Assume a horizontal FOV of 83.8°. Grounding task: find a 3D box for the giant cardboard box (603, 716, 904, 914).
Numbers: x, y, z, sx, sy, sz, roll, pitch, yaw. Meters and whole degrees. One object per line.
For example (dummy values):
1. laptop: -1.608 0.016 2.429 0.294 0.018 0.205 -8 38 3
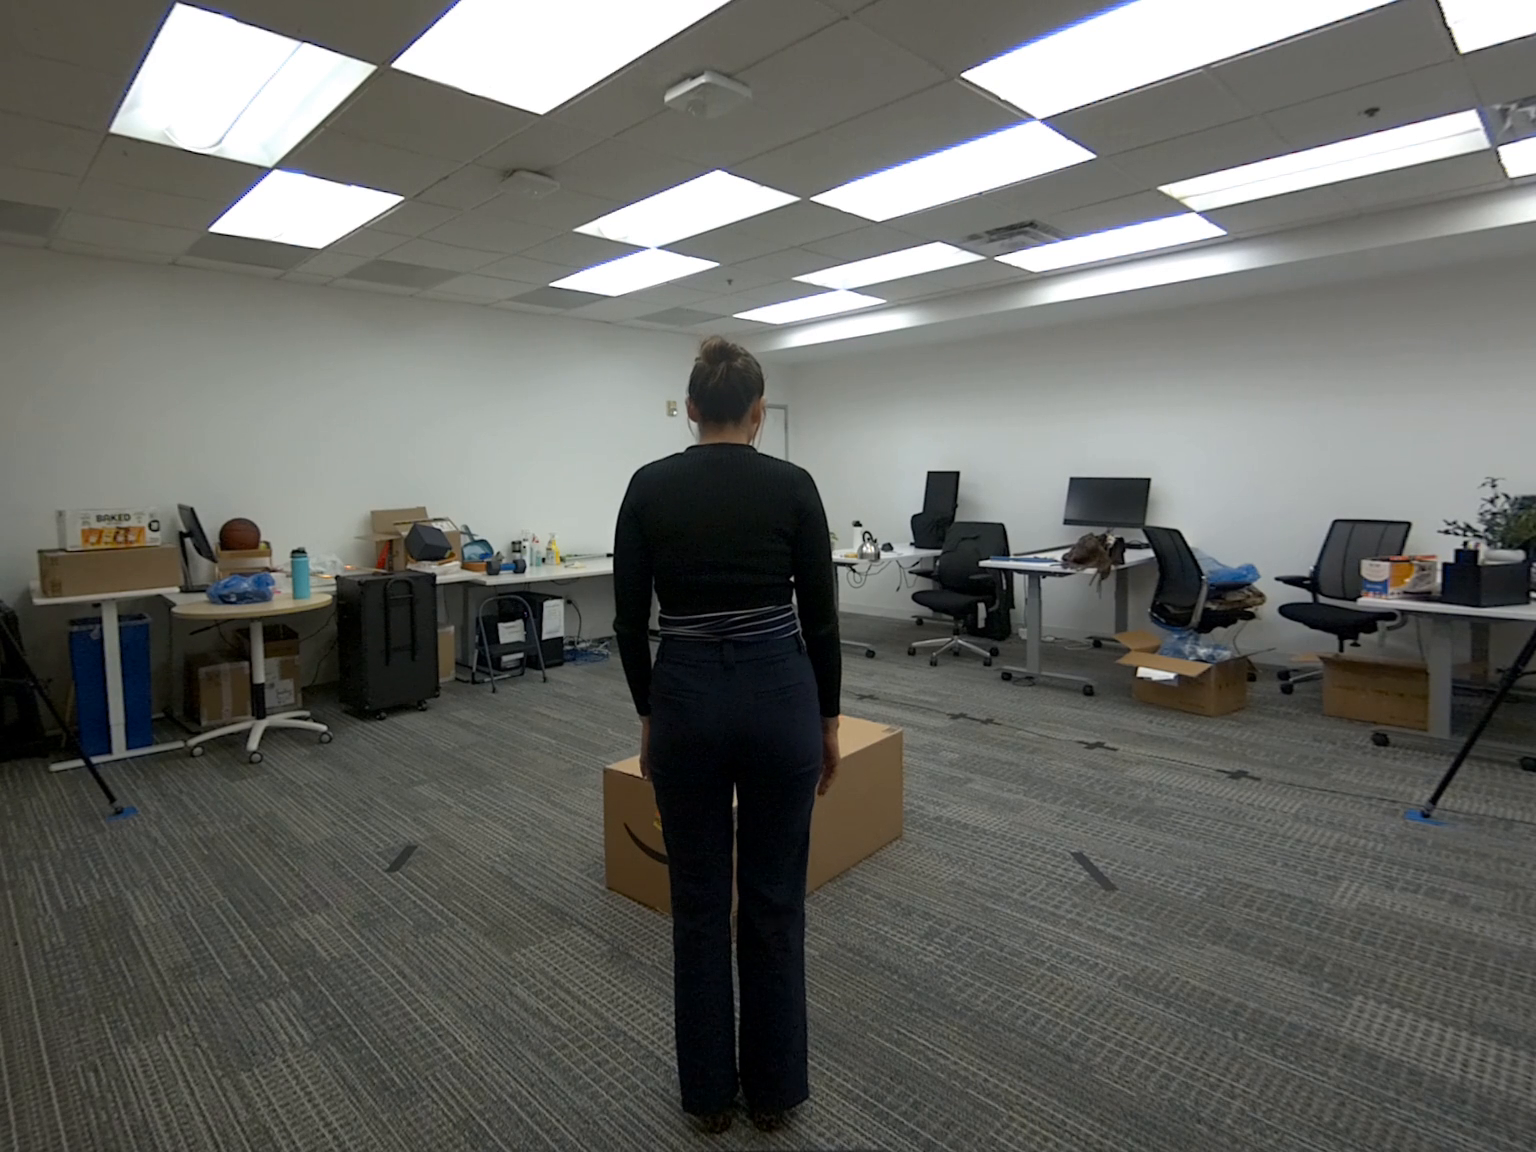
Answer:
1. giant cardboard box: -0.019 0.829 3.118 0.595 0.424 1.000 5 8 40
